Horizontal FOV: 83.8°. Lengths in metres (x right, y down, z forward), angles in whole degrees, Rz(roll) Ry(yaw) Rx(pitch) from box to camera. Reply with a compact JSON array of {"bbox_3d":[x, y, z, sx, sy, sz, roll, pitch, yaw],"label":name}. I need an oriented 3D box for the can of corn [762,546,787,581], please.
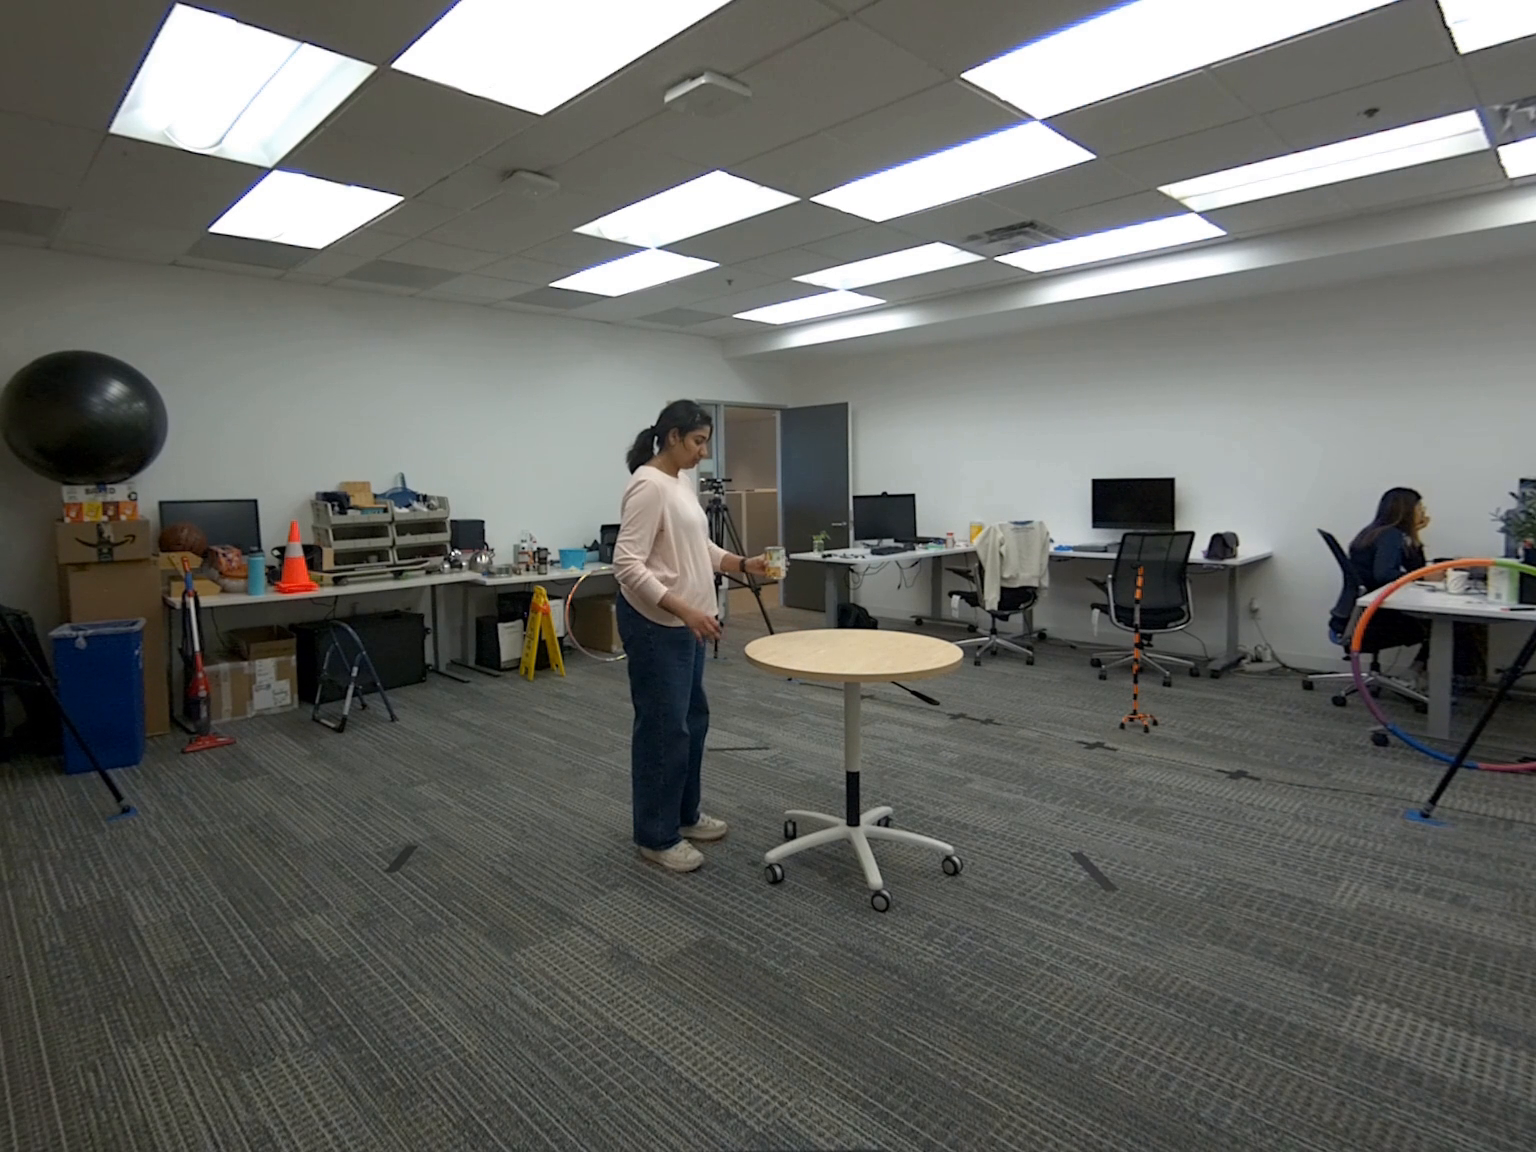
[{"bbox_3d":[0.022,-0.046,3.147,0.074,0.110,0.074,-2,6,-1],"label":"can of corn"}]
